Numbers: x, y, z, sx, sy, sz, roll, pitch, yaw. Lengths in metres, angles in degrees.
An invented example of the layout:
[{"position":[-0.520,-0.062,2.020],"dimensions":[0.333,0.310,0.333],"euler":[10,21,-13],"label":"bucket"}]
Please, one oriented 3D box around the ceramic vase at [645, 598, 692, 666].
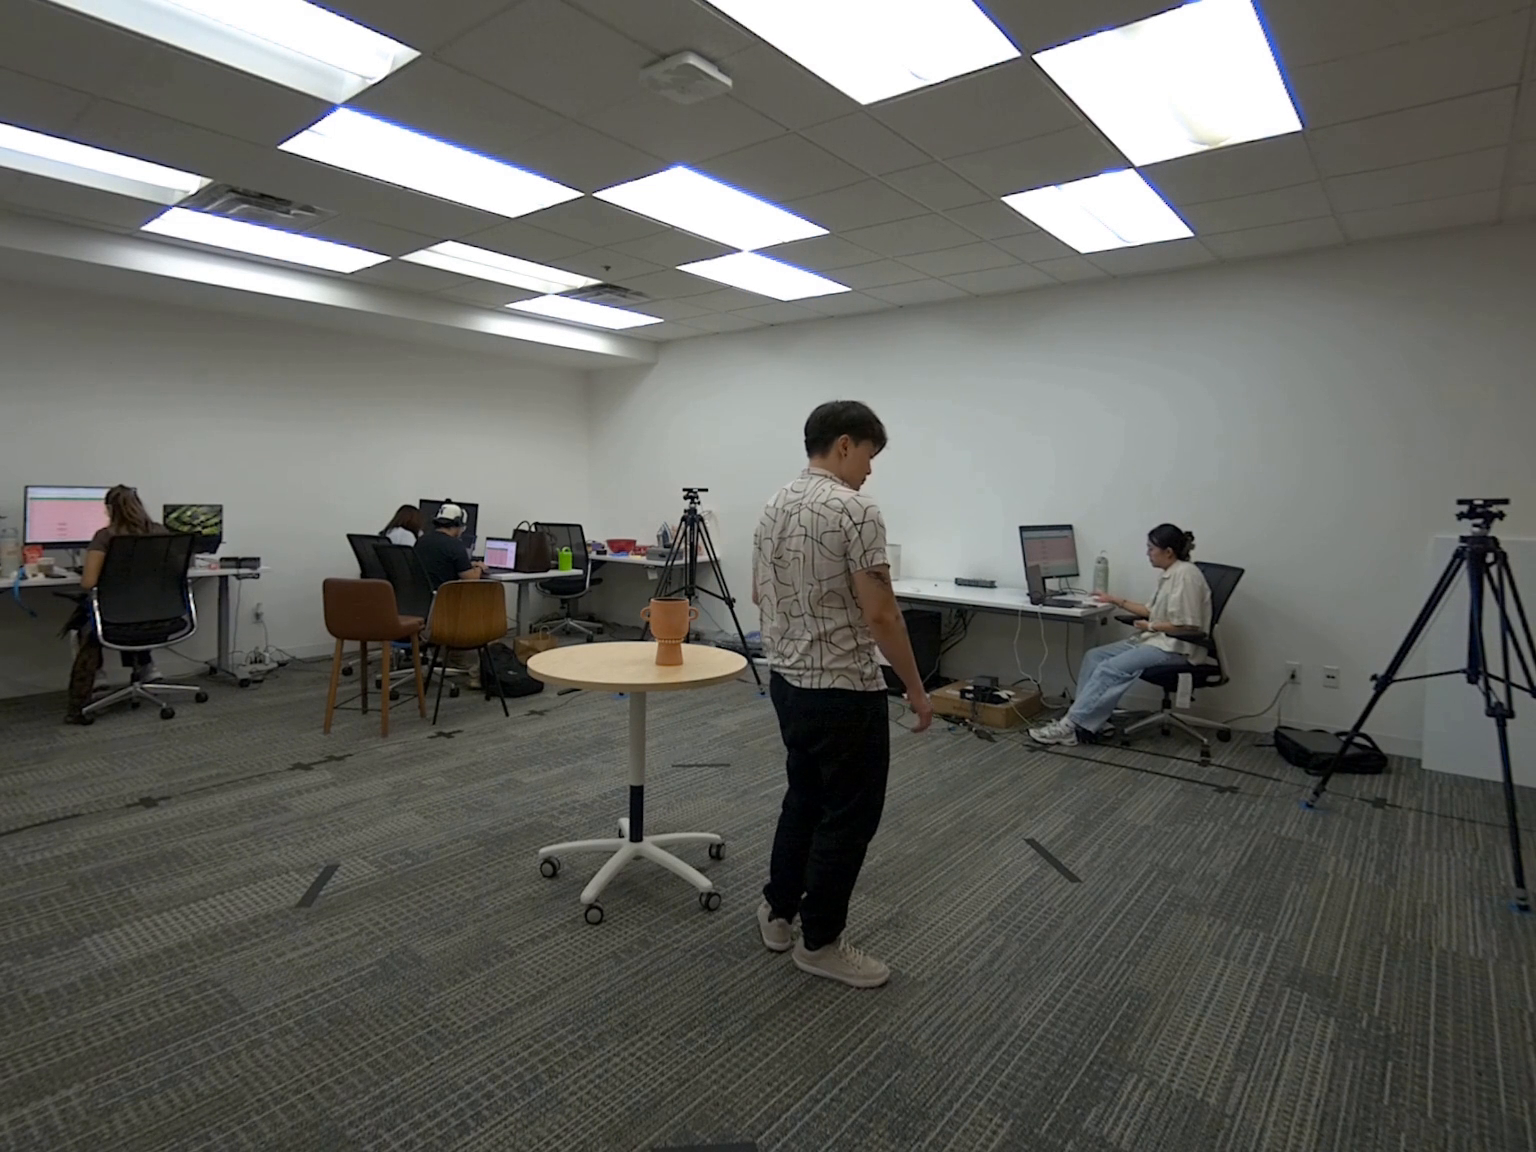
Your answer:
[{"position":[-0.353,0.191,2.931],"dimensions":[0.163,0.219,0.131],"euler":[3,4,31],"label":"ceramic vase"}]
